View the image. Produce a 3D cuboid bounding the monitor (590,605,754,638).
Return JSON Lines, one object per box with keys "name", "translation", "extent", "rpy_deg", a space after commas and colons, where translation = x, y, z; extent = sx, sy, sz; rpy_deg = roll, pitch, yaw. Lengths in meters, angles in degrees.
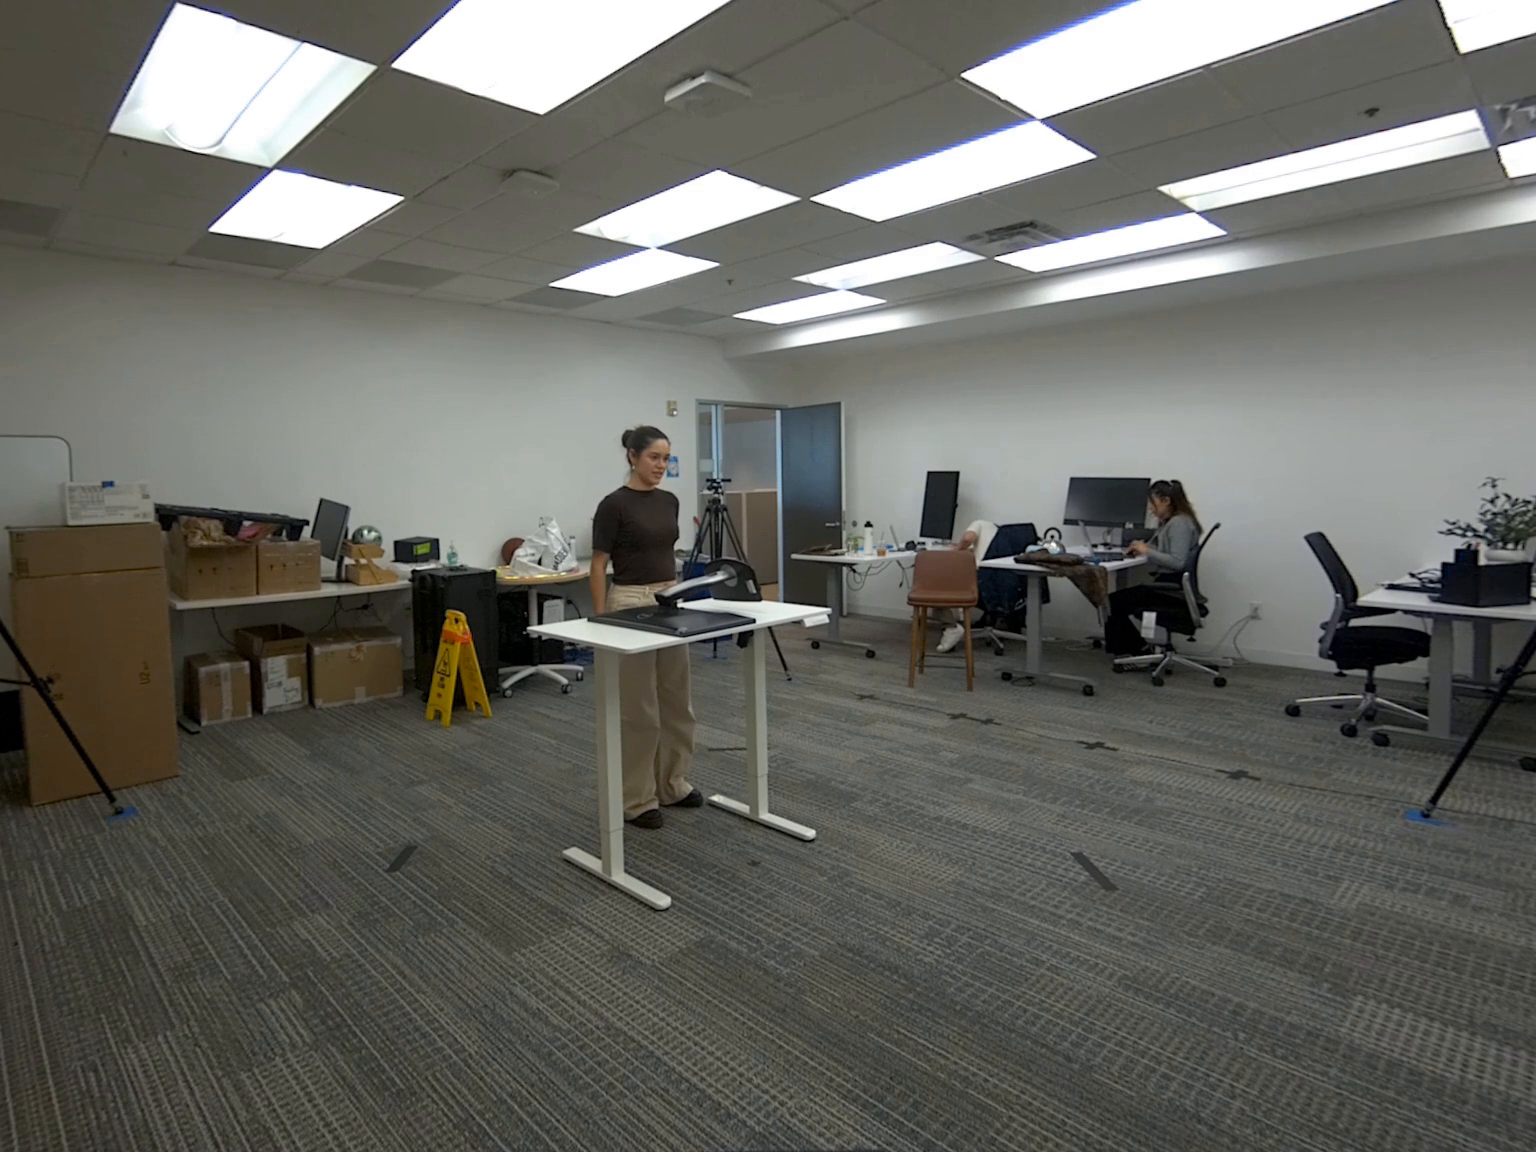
{"name": "monitor", "translation": [-0.296, 0.104, 3.152], "extent": [0.555, 0.184, 0.515], "rpy_deg": [1, 21, 46]}
